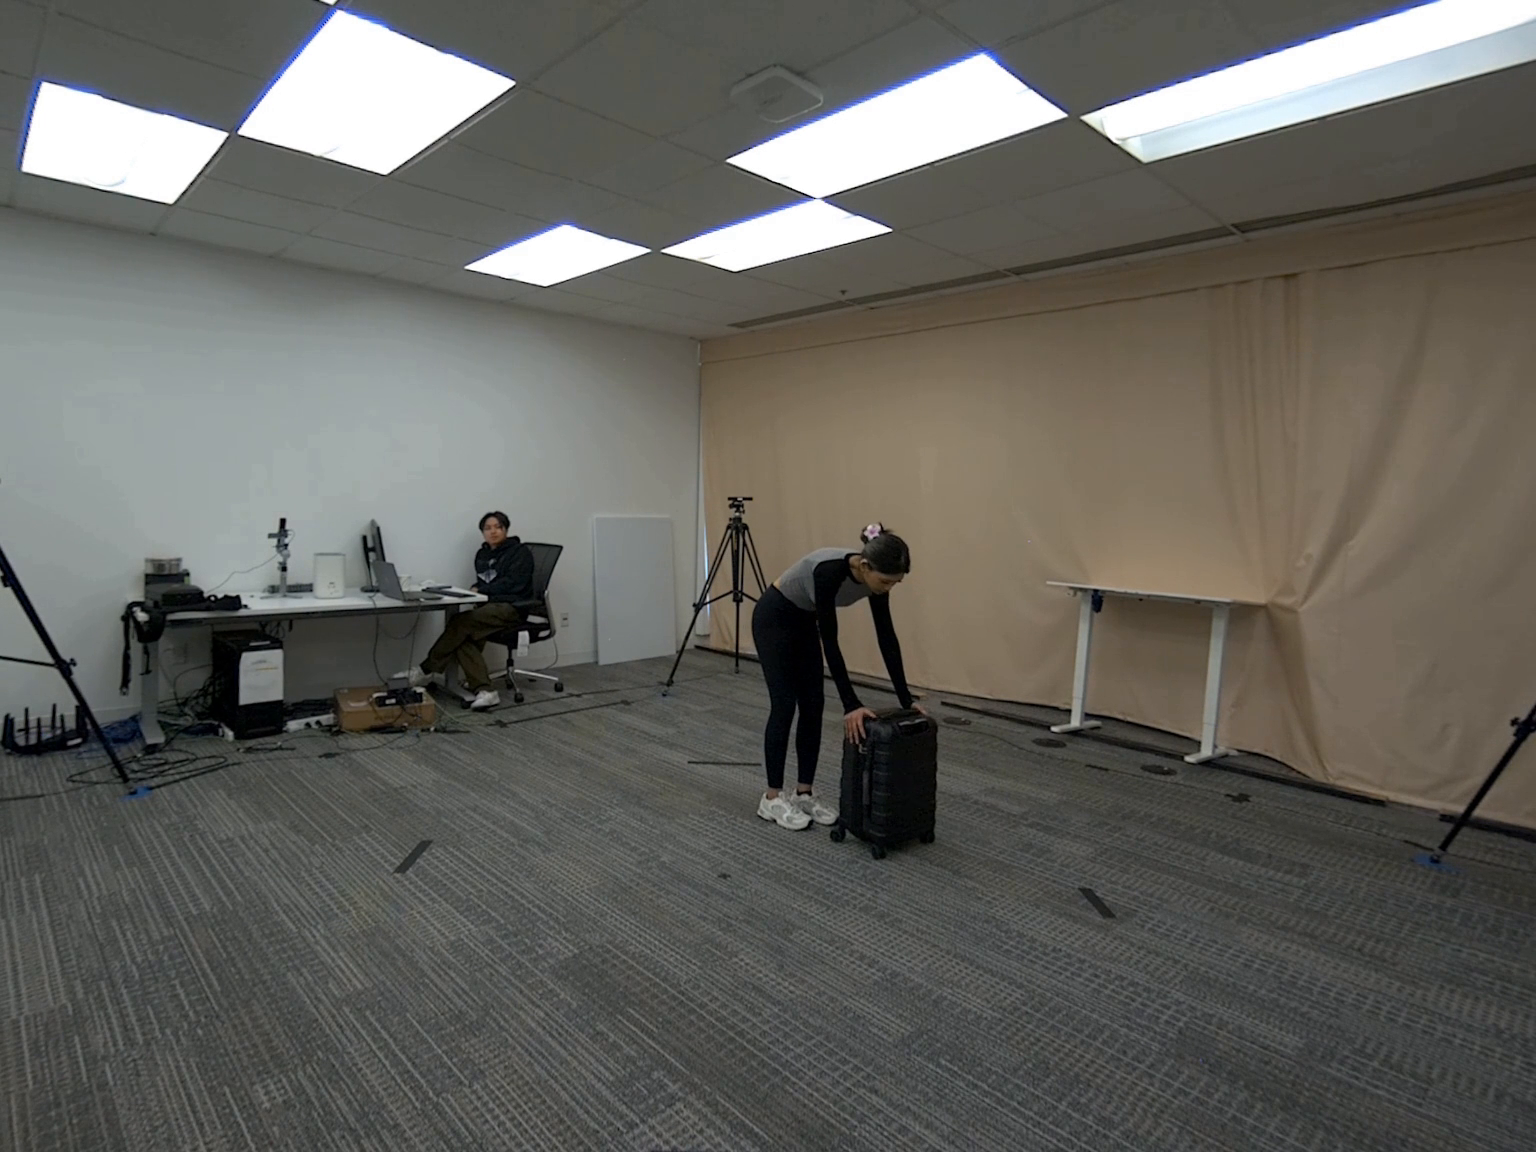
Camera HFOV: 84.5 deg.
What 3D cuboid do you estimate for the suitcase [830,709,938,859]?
[{"bbox_3d":[0.483,0.817,3.432,0.367,0.547,0.255,-2,6,-38],"label":"suitcase"}]
